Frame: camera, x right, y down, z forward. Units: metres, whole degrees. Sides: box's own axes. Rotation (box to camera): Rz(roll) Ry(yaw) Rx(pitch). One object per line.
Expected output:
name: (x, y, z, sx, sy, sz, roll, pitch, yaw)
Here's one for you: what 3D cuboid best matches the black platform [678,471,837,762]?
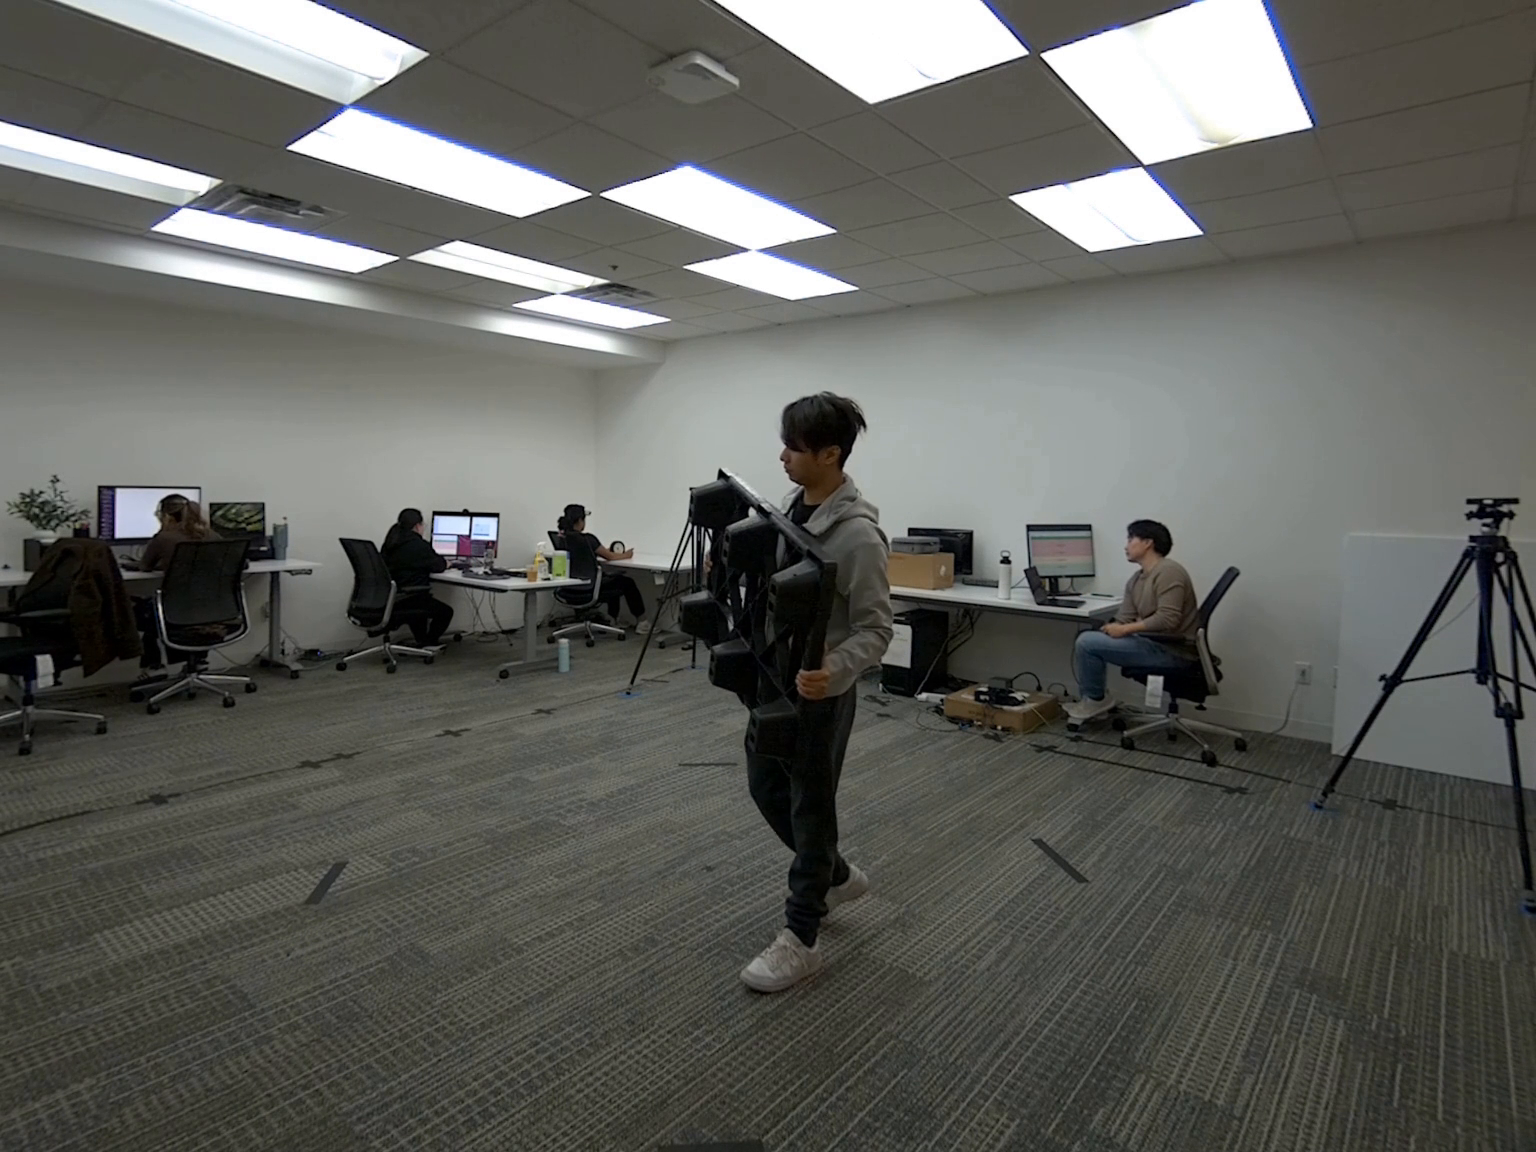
black platform: (-0.087, 0.089, 2.433, 0.140, 0.596, 0.835, 0, 22, -22)
